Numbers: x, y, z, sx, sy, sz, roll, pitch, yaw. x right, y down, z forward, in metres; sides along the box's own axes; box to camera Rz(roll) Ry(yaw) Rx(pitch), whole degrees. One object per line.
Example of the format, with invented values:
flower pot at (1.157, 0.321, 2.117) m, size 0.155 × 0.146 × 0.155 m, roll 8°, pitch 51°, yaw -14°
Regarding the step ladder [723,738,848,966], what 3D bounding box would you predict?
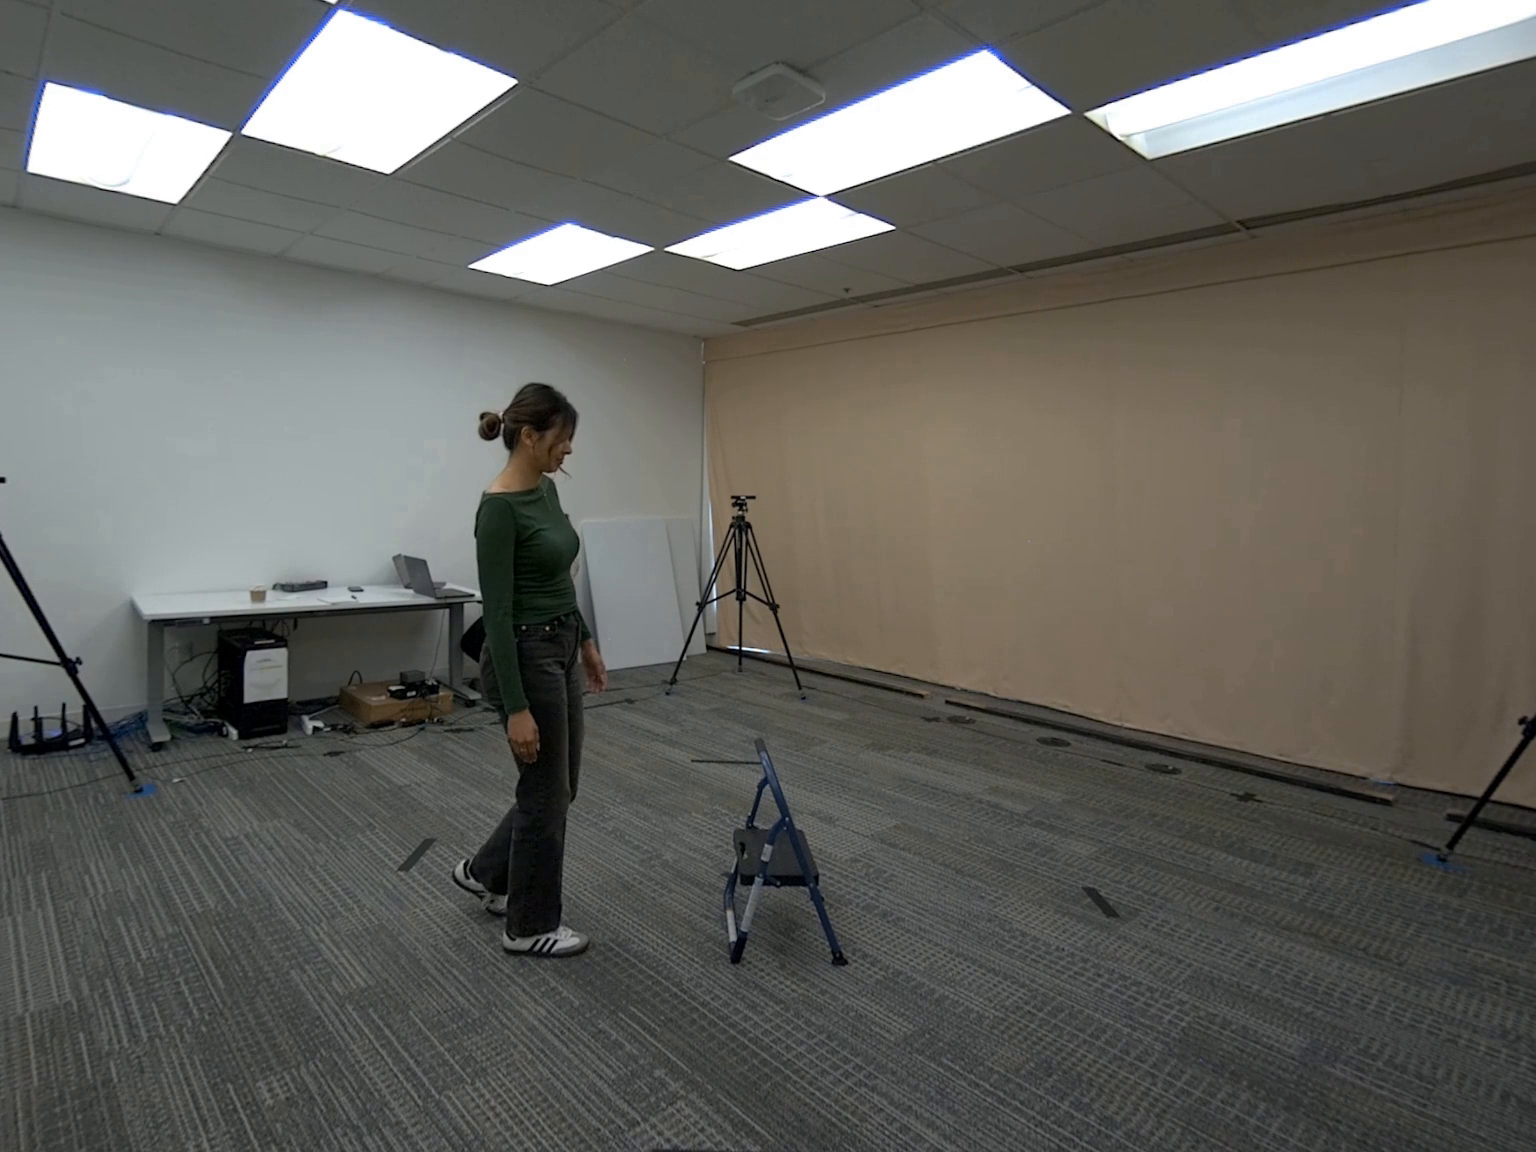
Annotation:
step ladder at (0.035, 0.843, 2.702) m, size 0.348 × 0.604 × 0.433 m, roll 1°, pitch 4°, yaw -6°
